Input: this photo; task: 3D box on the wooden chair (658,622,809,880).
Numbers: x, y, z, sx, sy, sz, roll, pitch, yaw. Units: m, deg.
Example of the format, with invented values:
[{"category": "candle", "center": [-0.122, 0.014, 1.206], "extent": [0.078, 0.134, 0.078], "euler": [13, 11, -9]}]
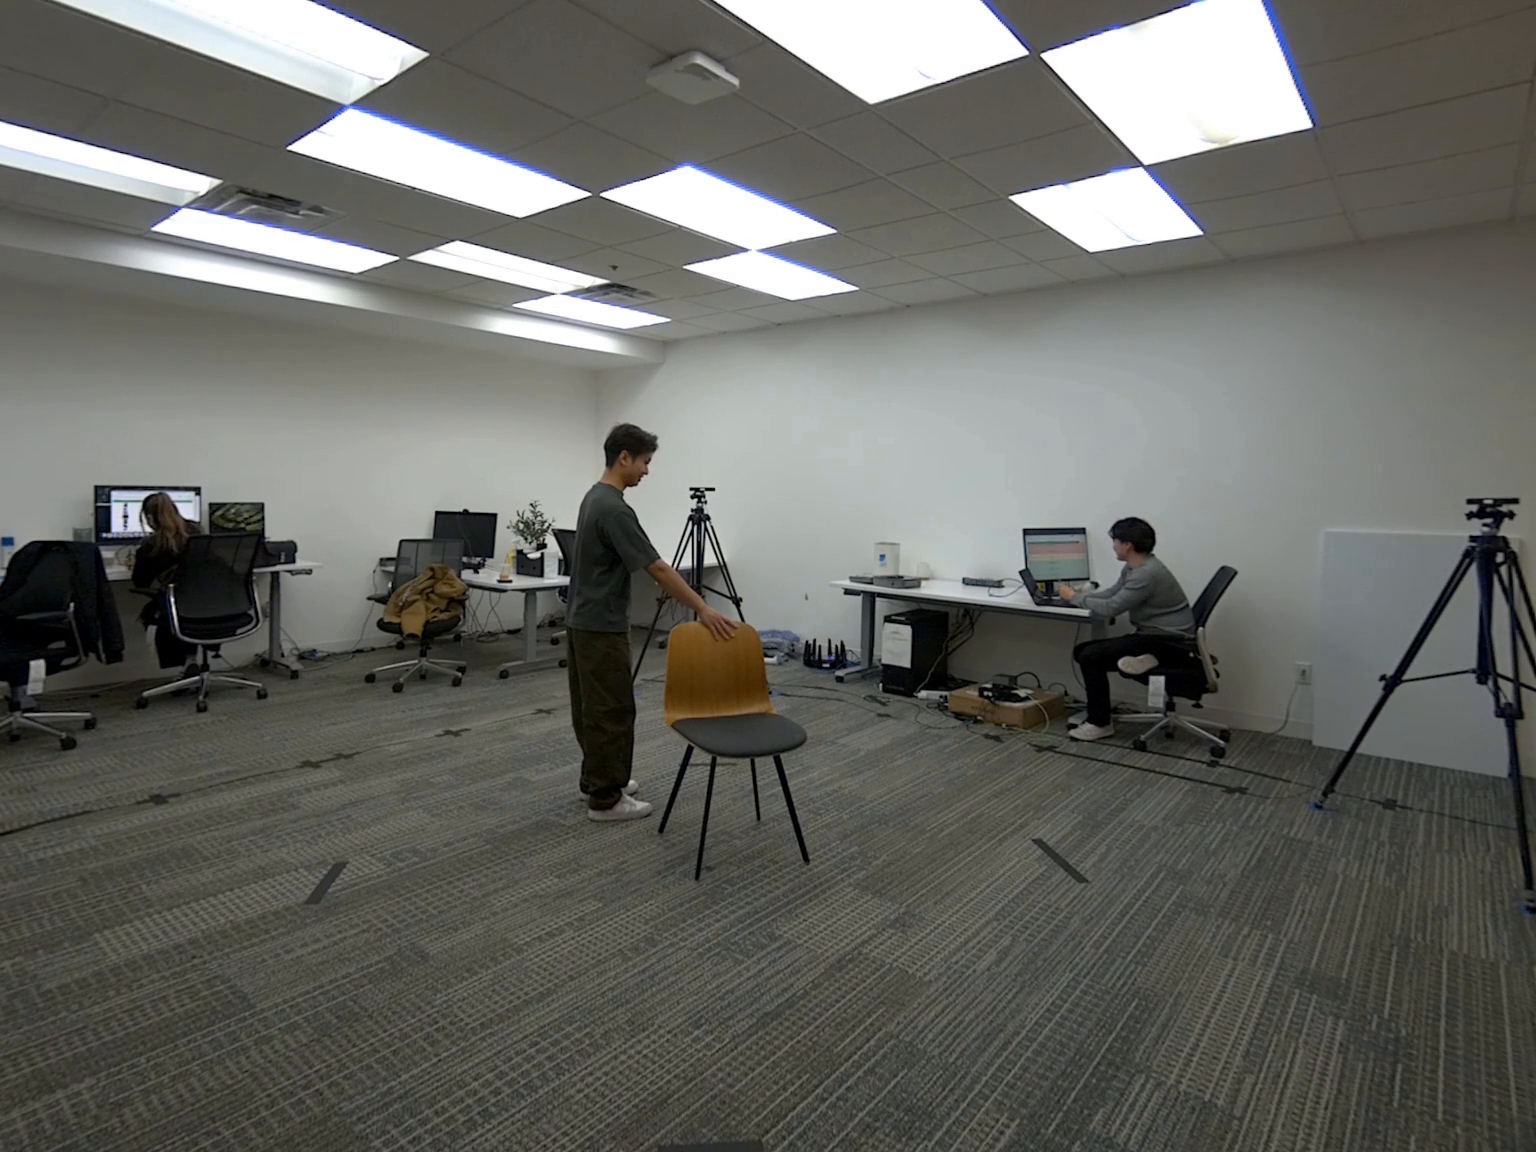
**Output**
[{"category": "wooden chair", "center": [-0.141, 0.625, 3.265], "extent": [0.467, 0.879, 0.534], "euler": [0, -1, -23]}]
